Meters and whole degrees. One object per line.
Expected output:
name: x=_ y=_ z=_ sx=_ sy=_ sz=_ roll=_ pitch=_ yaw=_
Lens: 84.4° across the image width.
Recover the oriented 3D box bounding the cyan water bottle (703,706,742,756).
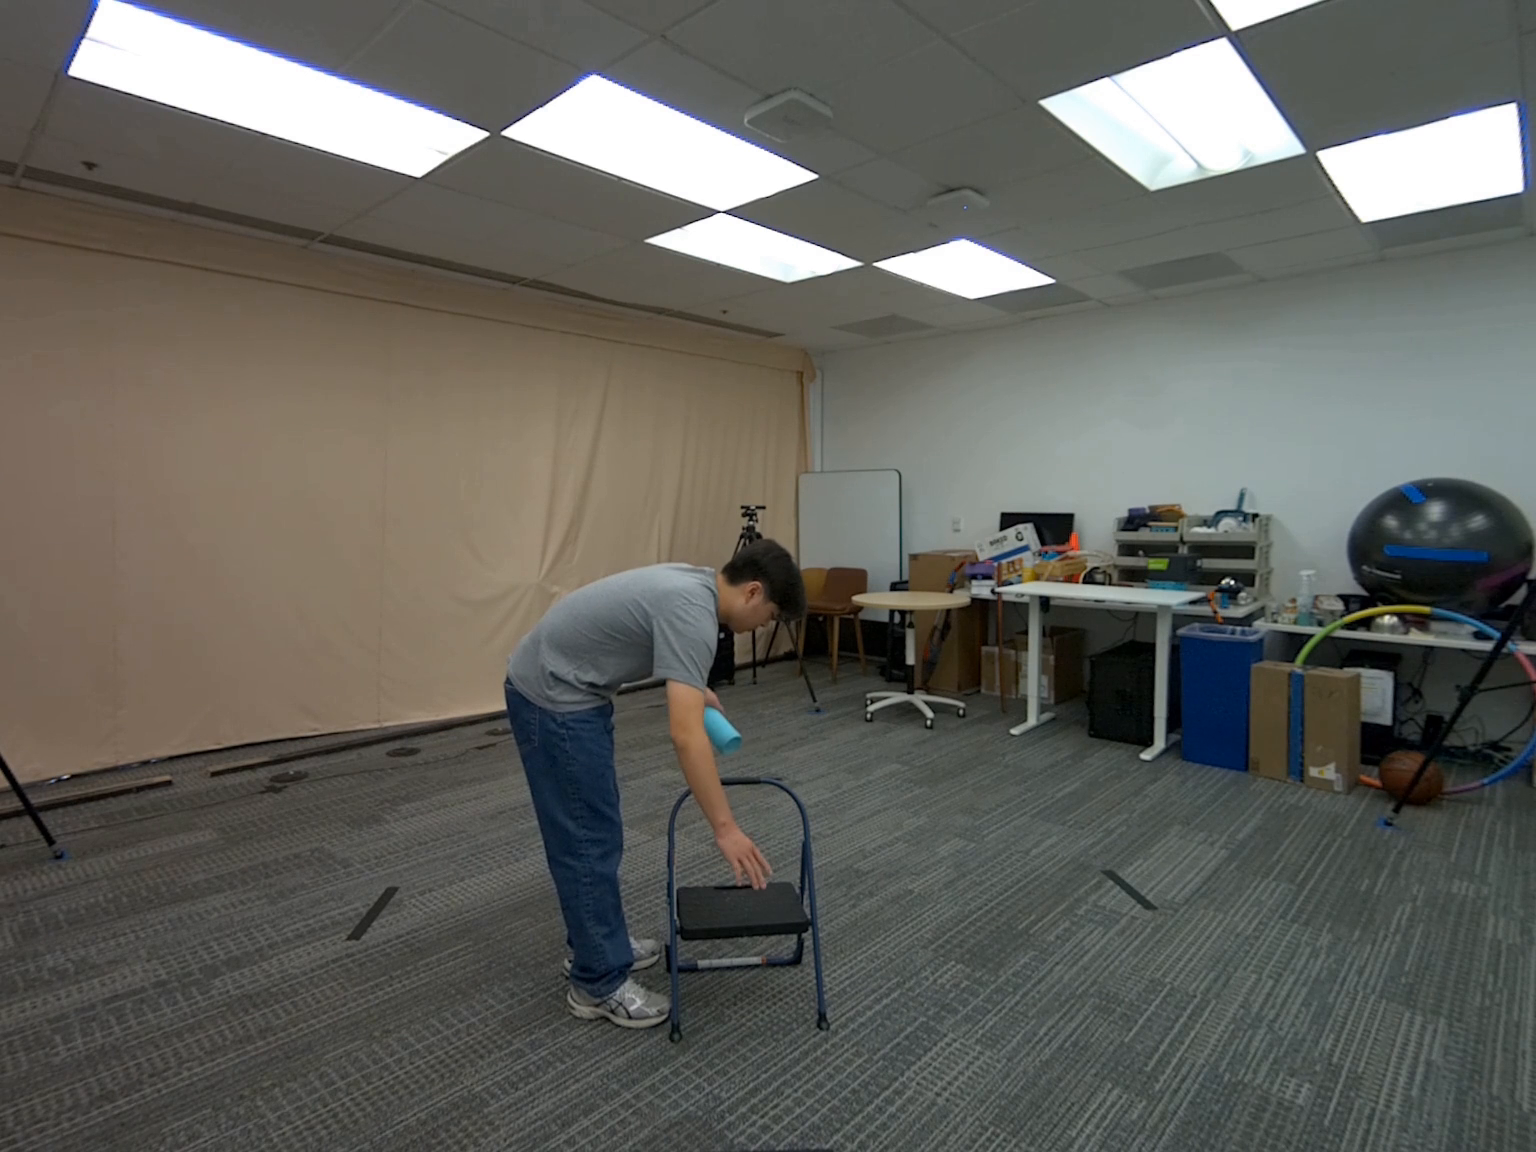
cyan water bottle: x=-0.205 y=0.502 z=2.927 sx=0.089 sy=0.092 sz=0.293 roll=-3 pitch=34 yaw=-44
